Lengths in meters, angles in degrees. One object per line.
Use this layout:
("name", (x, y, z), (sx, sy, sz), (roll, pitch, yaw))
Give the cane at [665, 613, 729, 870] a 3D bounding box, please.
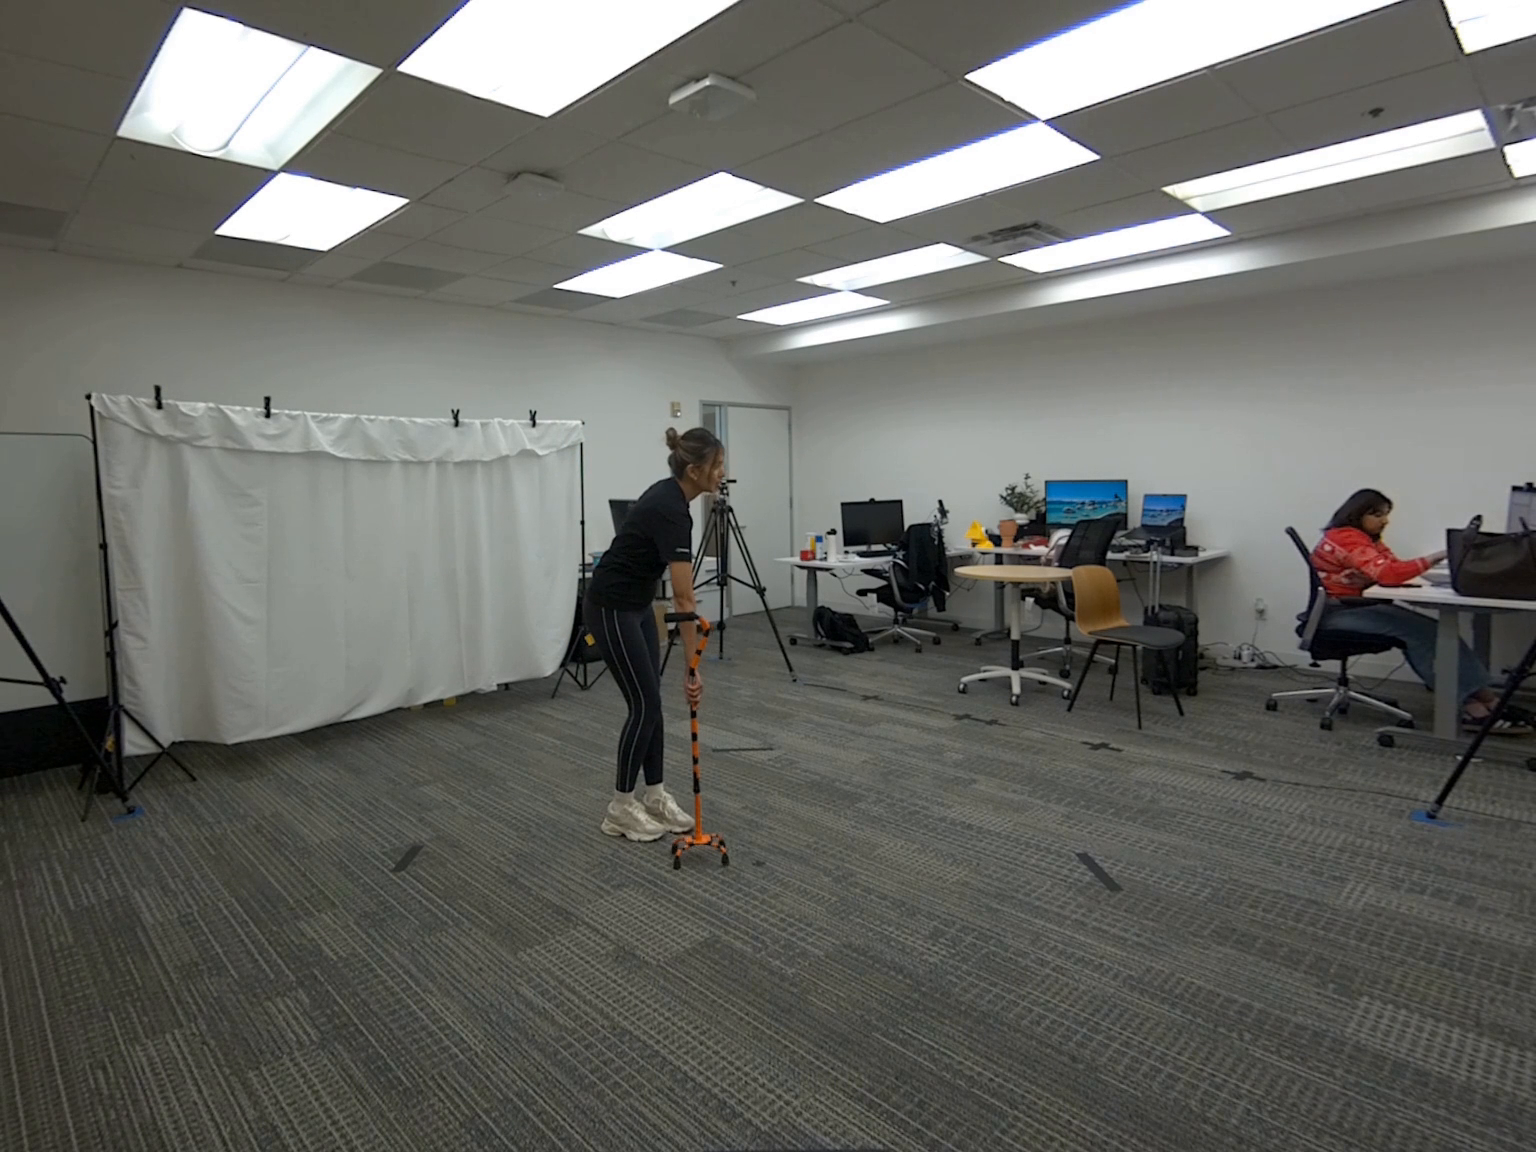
("cane", (-0.266, 0.579, 3.120), (0.205, 0.904, 0.153), (-3, 4, -9))
